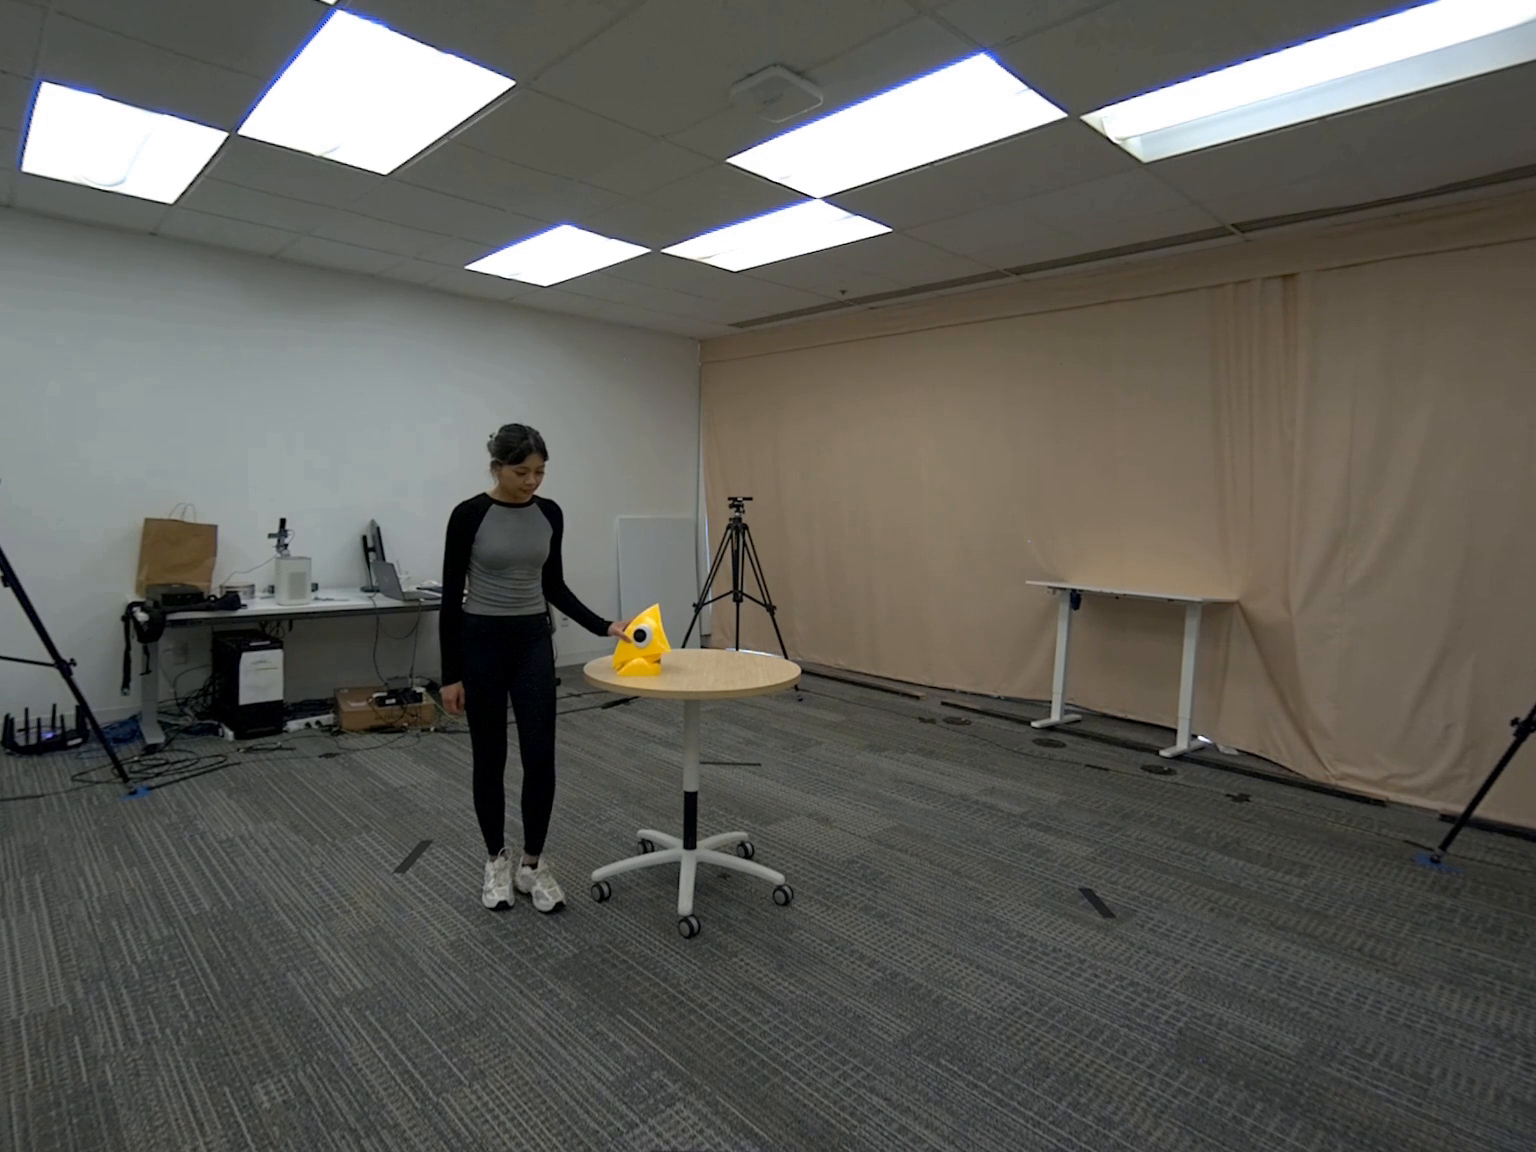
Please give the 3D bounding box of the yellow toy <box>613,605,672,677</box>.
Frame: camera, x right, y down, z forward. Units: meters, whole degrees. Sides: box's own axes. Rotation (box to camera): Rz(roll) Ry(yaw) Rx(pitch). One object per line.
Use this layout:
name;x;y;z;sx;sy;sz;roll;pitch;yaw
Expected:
yellow toy;-0.448;0.213;2.905;0.190;0.230;0.208;0;4;-18
